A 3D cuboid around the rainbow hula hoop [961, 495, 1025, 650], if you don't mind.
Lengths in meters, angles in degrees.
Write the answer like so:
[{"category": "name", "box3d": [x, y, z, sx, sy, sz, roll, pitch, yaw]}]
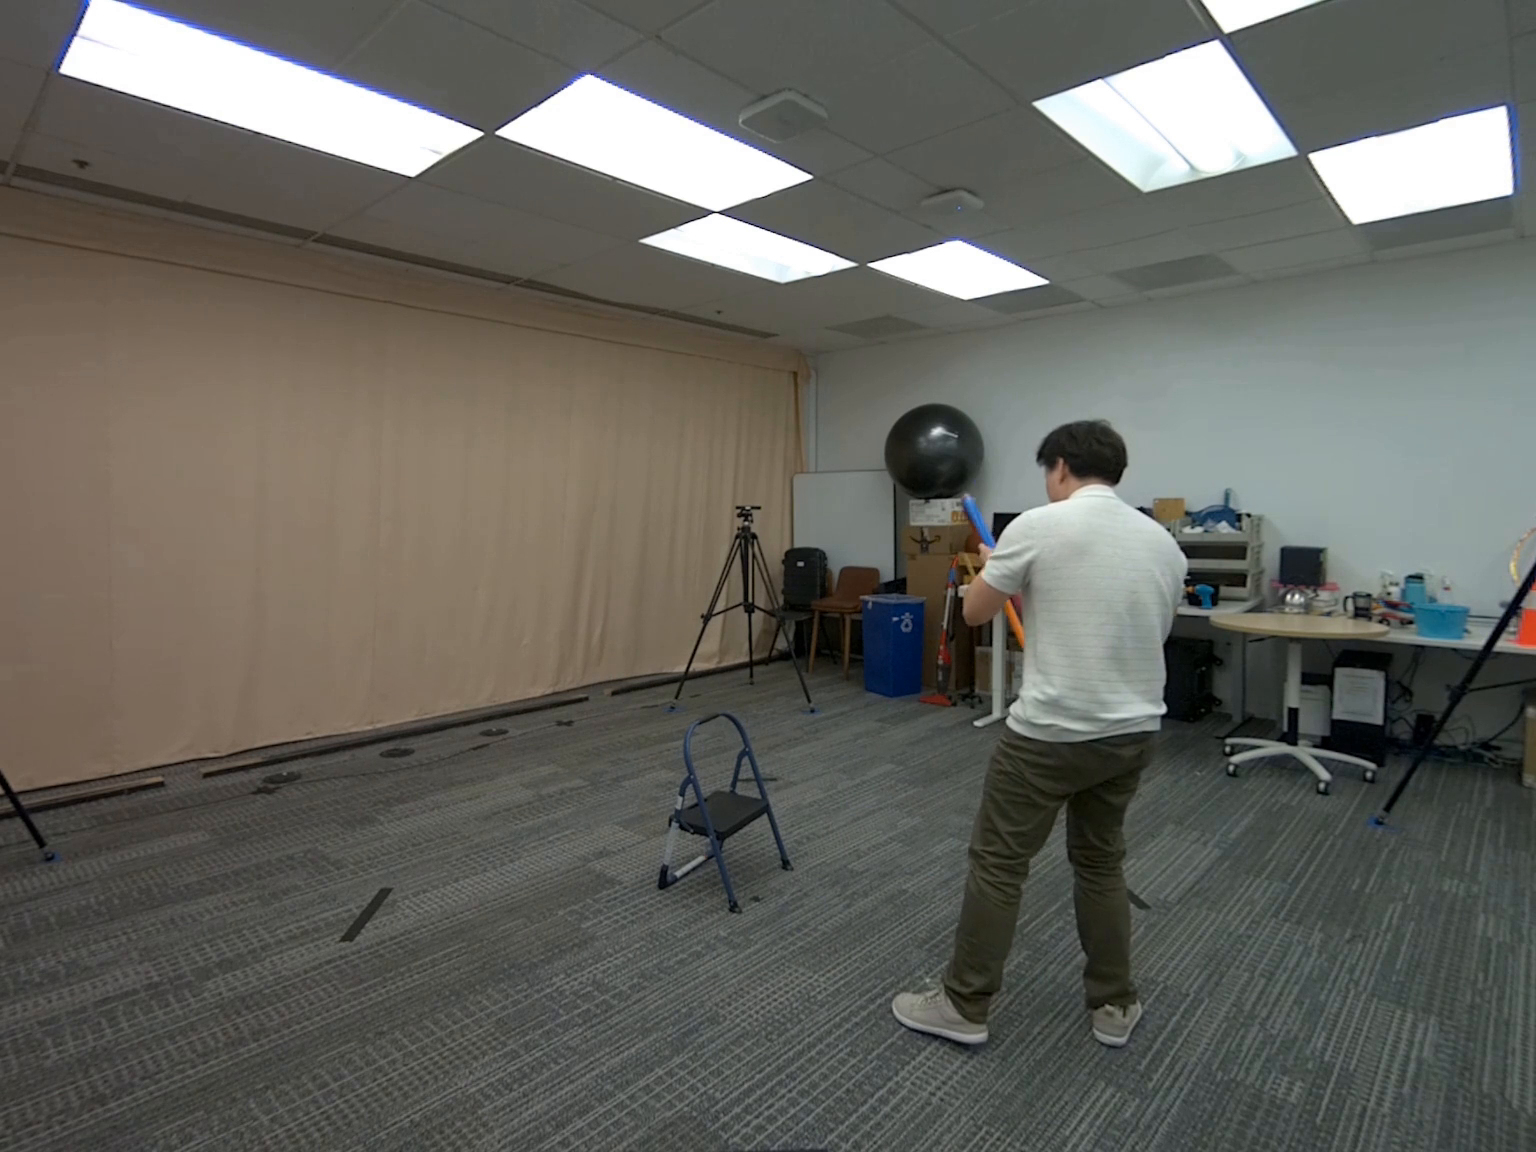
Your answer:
[{"category": "rainbow hula hoop", "box3d": [0.884, 0.167, 2.875, 0.036, 0.981, 0.968, -25, -1, 11]}]
